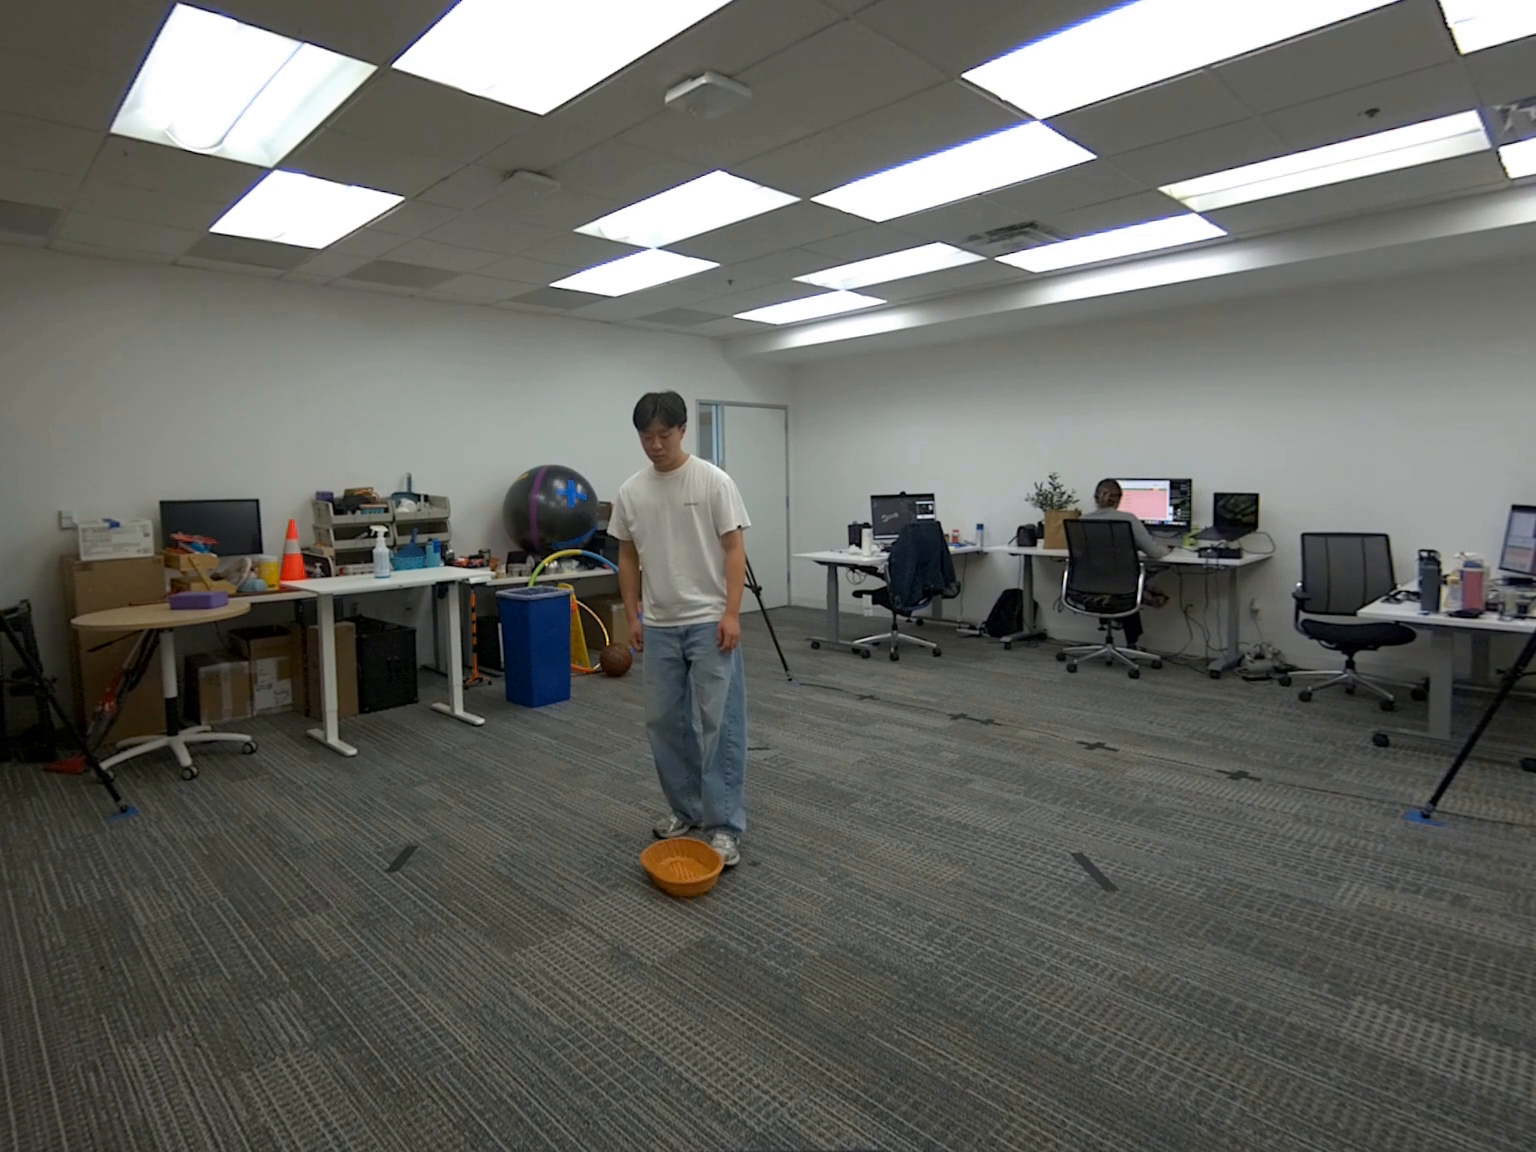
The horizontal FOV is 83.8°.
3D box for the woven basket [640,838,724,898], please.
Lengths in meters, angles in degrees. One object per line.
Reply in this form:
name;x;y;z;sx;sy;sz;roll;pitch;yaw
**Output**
woven basket;-0.306;1.023;2.988;0.248;0.073;0.359;-8;9;-22
